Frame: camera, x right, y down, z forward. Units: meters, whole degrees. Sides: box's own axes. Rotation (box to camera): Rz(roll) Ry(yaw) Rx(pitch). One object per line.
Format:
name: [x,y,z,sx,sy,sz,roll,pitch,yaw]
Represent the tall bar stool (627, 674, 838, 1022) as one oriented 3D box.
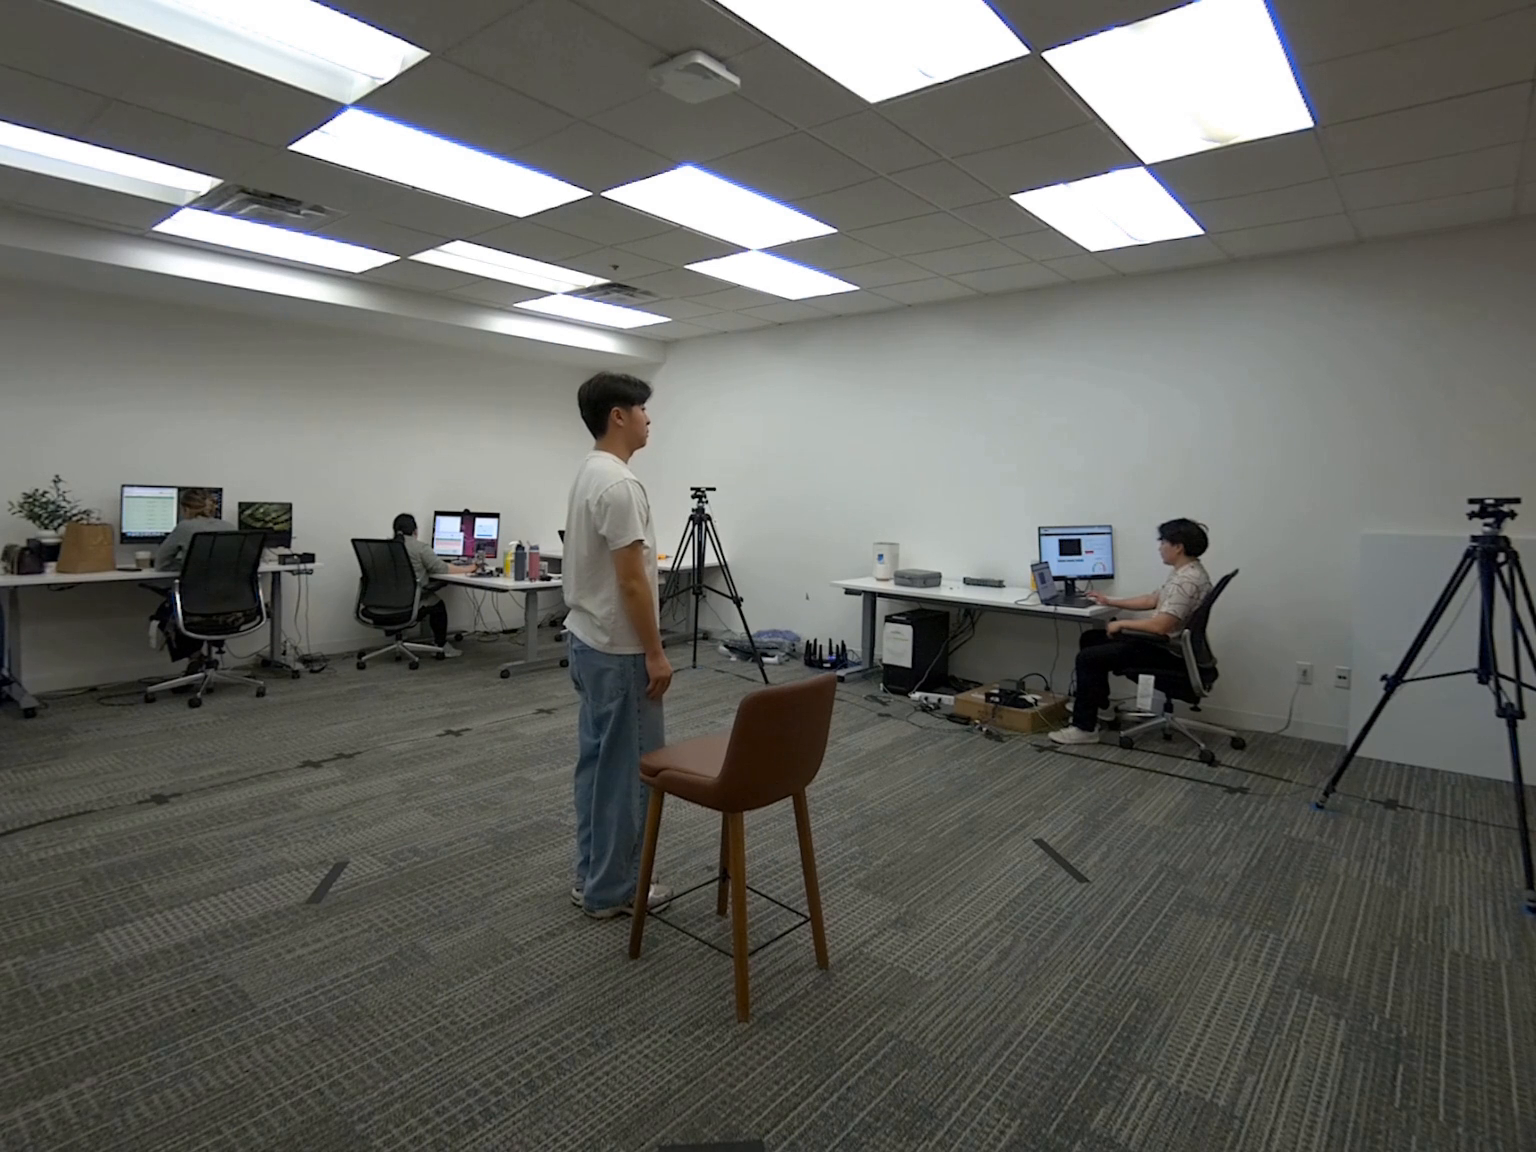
tall bar stool: [-0.102,0.693,2.469,0.484,0.886,0.442,7,6,42]
